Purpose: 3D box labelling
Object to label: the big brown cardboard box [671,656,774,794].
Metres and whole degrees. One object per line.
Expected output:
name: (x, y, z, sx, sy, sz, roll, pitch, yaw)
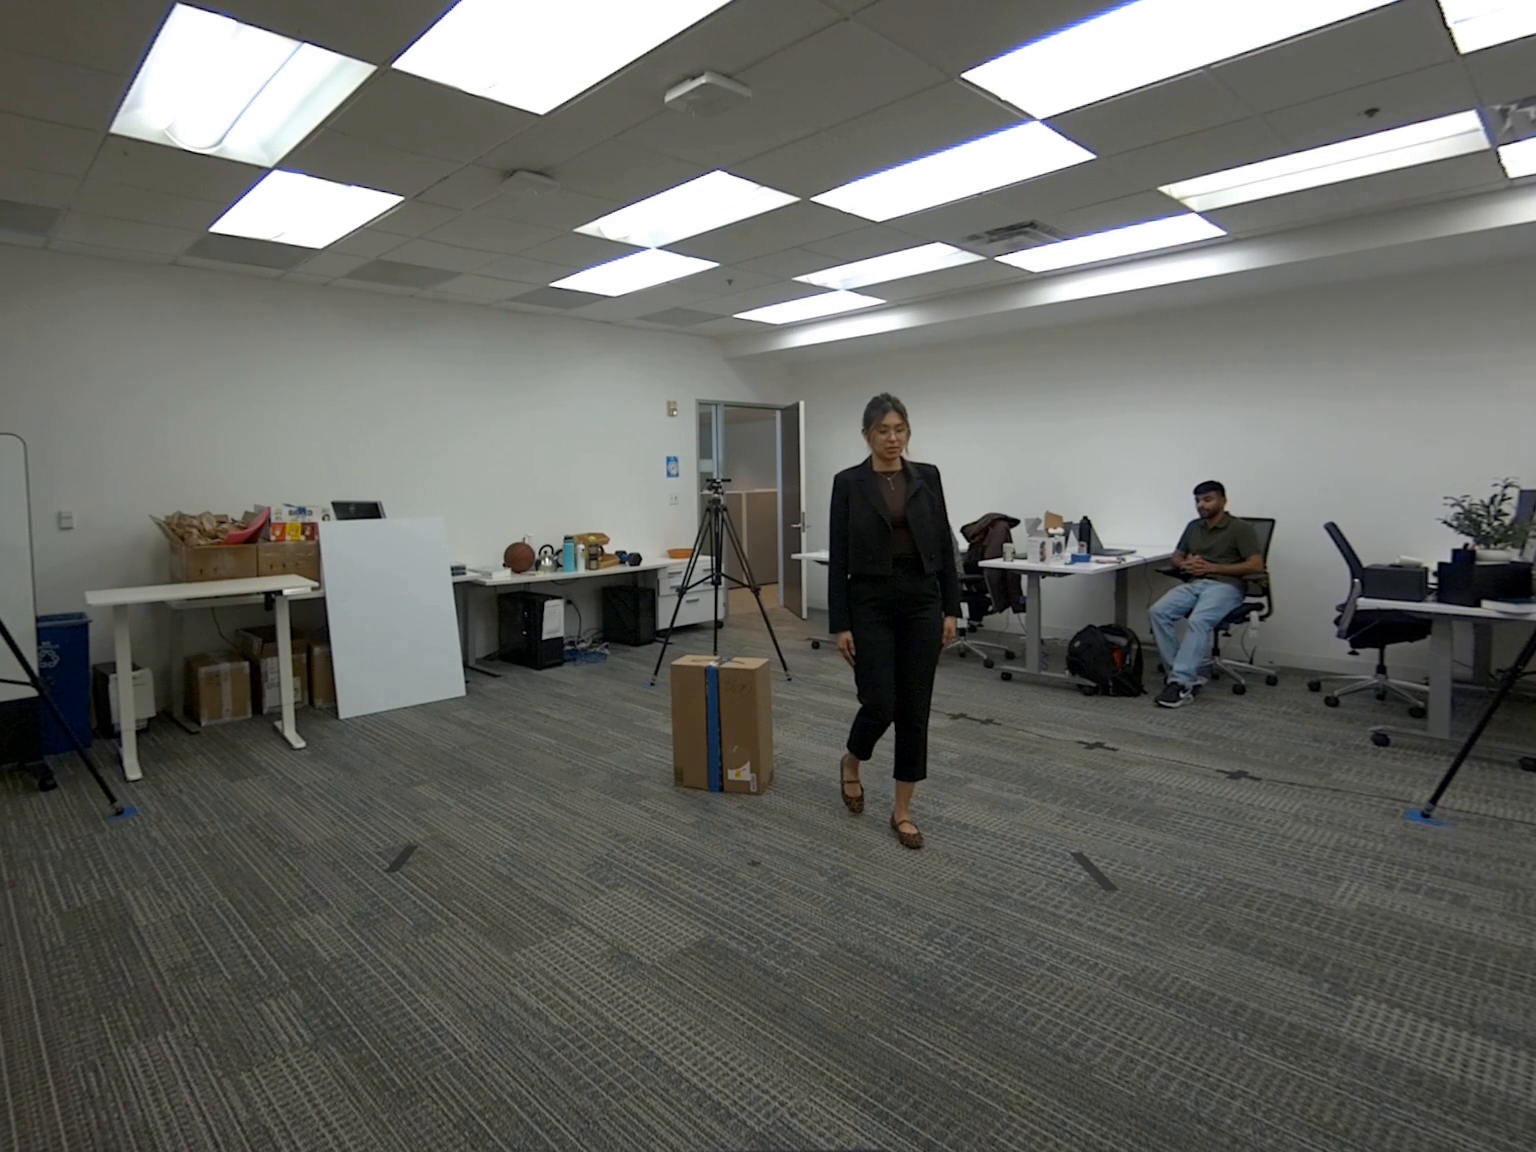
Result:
big brown cardboard box: (-0.212, 0.676, 3.930, 0.425, 0.587, 0.229, -1, 3, 19)
